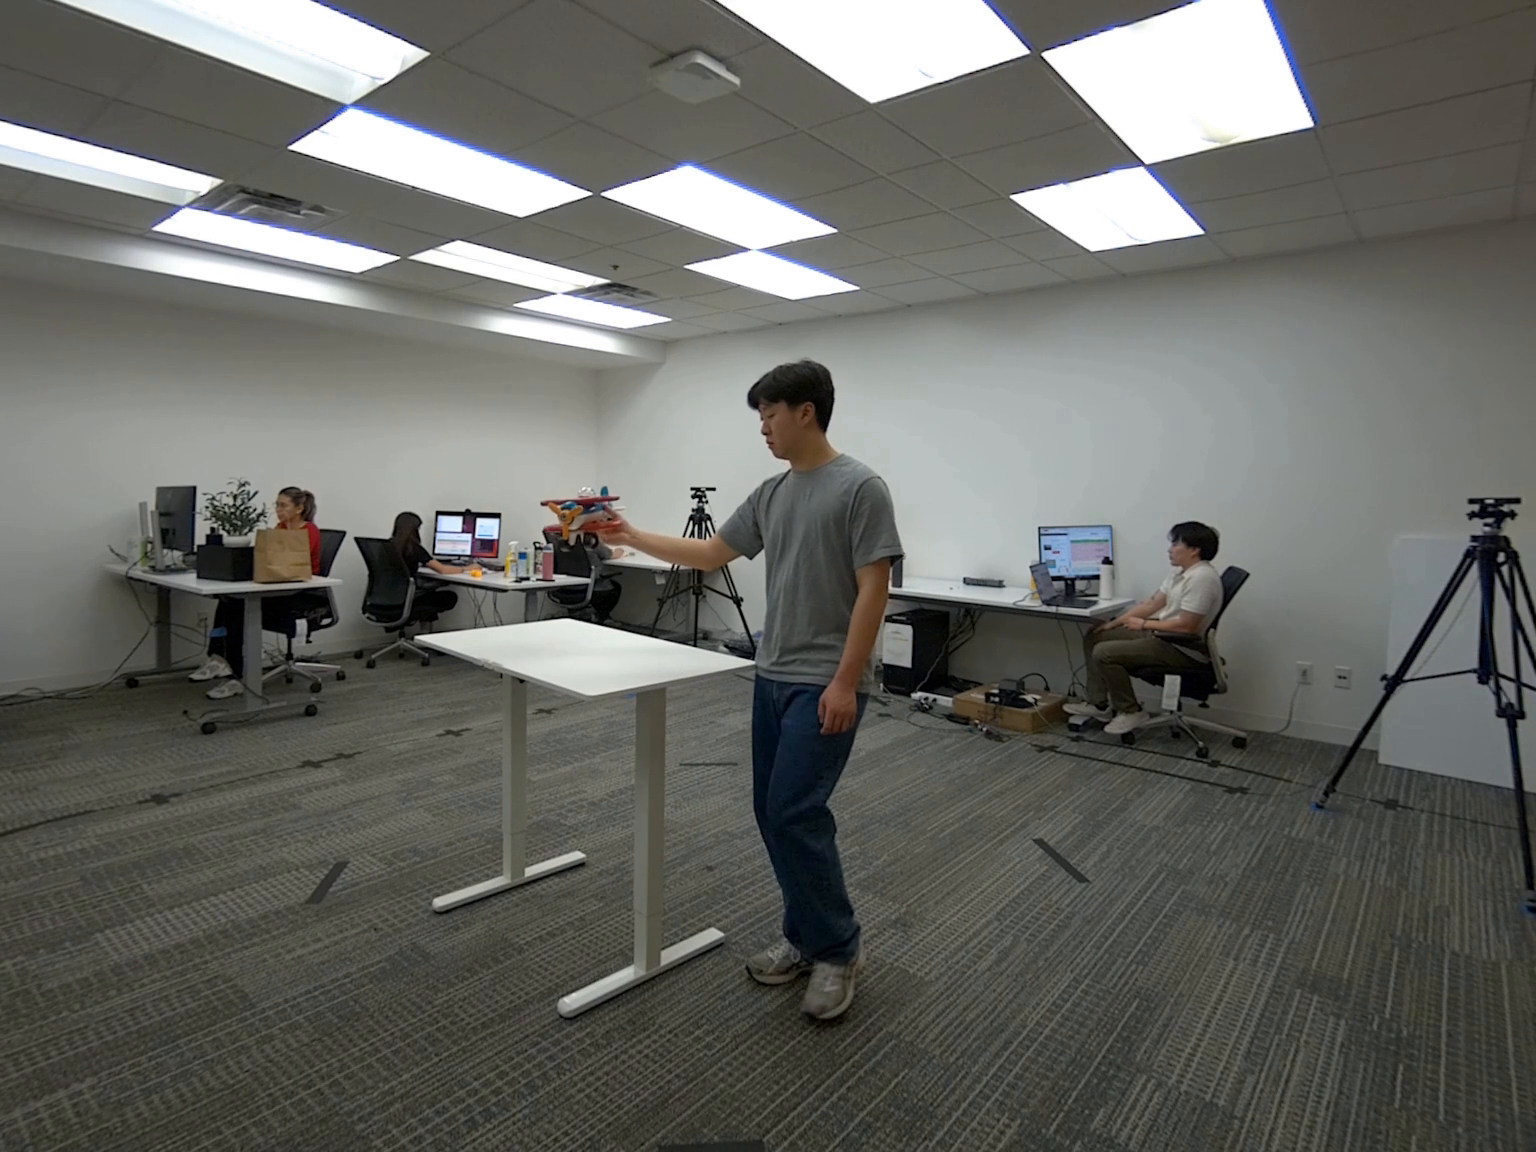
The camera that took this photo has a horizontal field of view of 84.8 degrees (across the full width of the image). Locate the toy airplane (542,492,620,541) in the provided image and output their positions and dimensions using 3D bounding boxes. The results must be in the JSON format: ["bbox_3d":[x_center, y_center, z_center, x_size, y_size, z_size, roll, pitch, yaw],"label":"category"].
[{"bbox_3d":[-0.570,-0.183,2.572,0.250,0.153,0.266,-12,22,-4],"label":"toy airplane"}]
